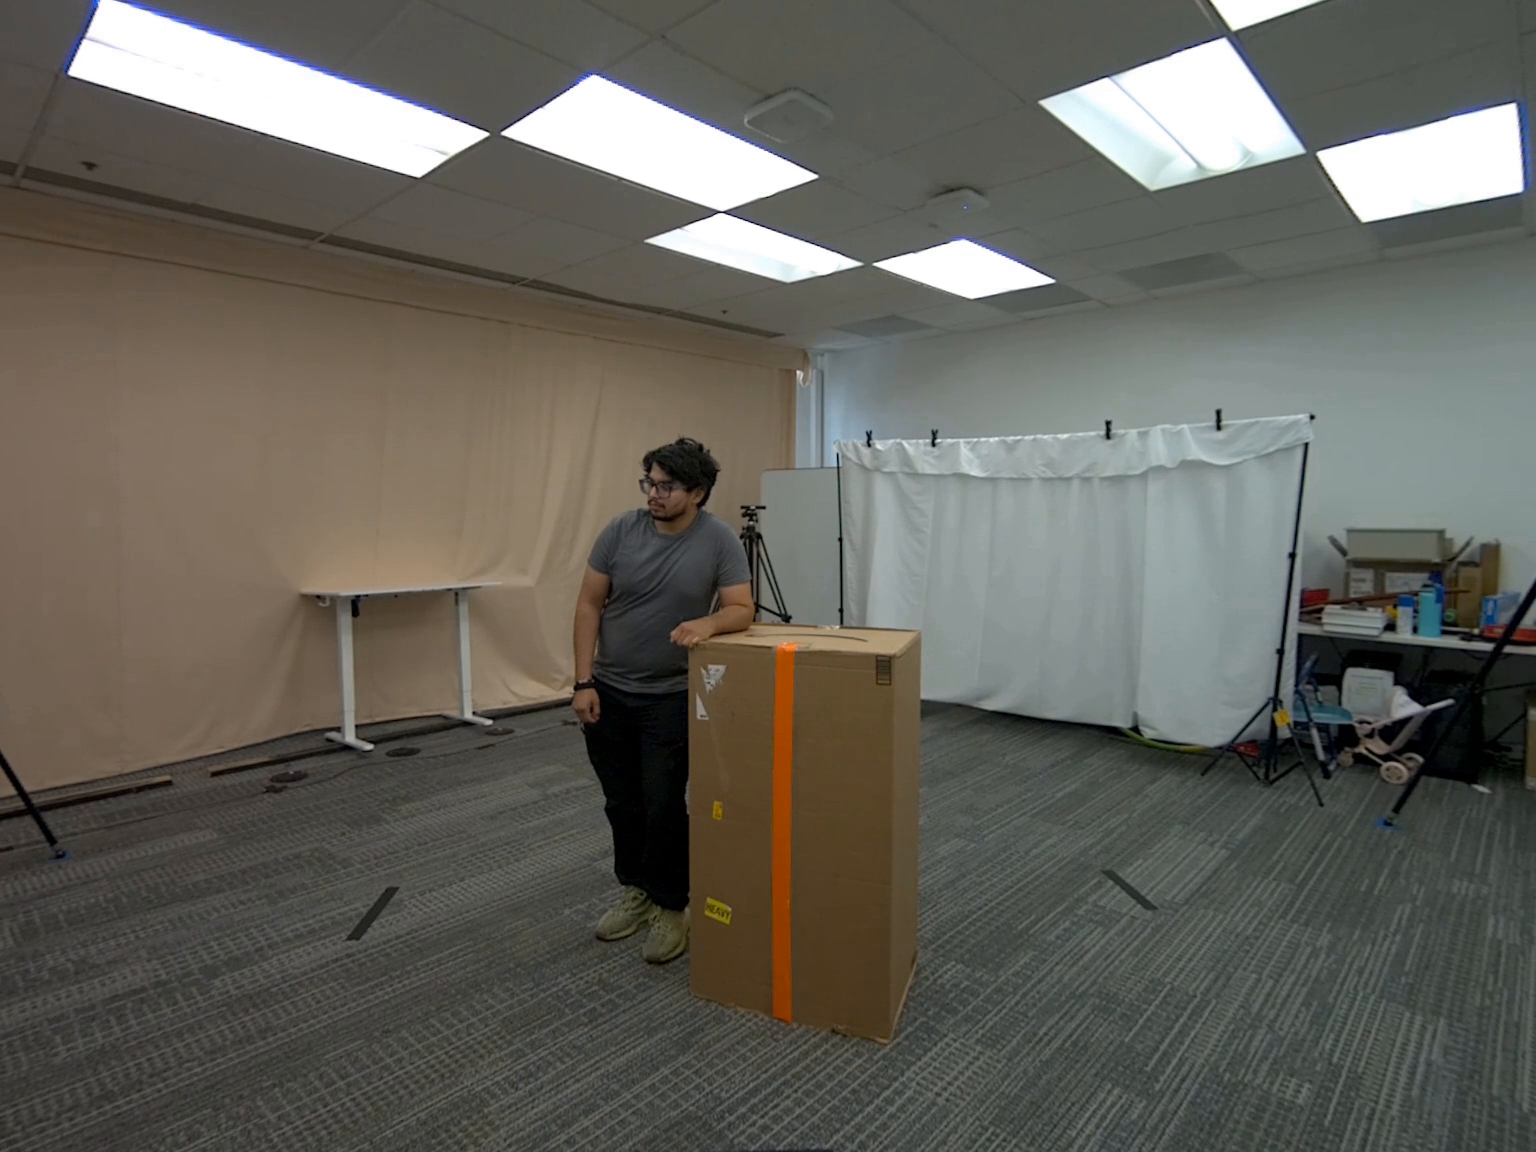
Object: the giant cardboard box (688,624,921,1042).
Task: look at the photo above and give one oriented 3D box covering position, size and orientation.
[{"bbox_3d":[0.125,0.682,2.441,0.591,1.024,0.417,1,3,23],"label":"giant cardboard box"}]
